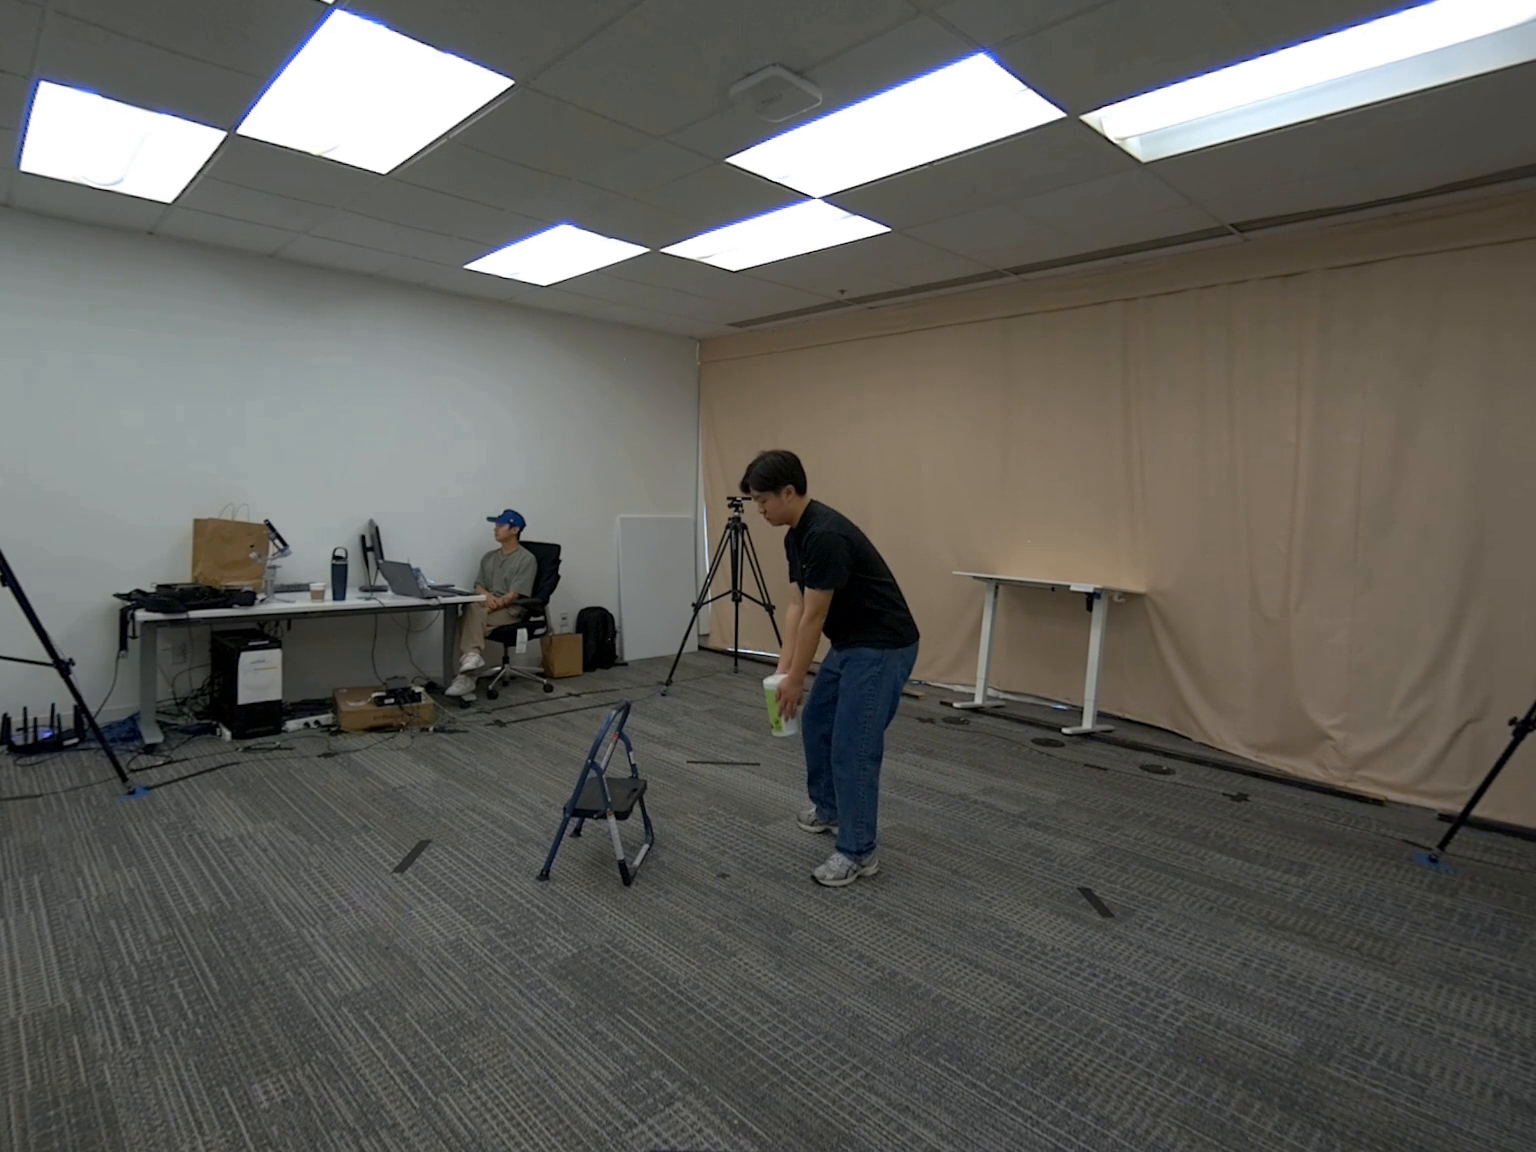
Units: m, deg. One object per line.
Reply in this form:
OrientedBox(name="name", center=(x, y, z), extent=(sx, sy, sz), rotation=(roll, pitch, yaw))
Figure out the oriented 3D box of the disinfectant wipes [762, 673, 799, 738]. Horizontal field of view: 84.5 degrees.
OrientedBox(name="disinfectant wipes", center=(0.043, 0.493, 3.210), extent=(0.118, 0.215, 0.119), rotation=(-10, 12, 1))
